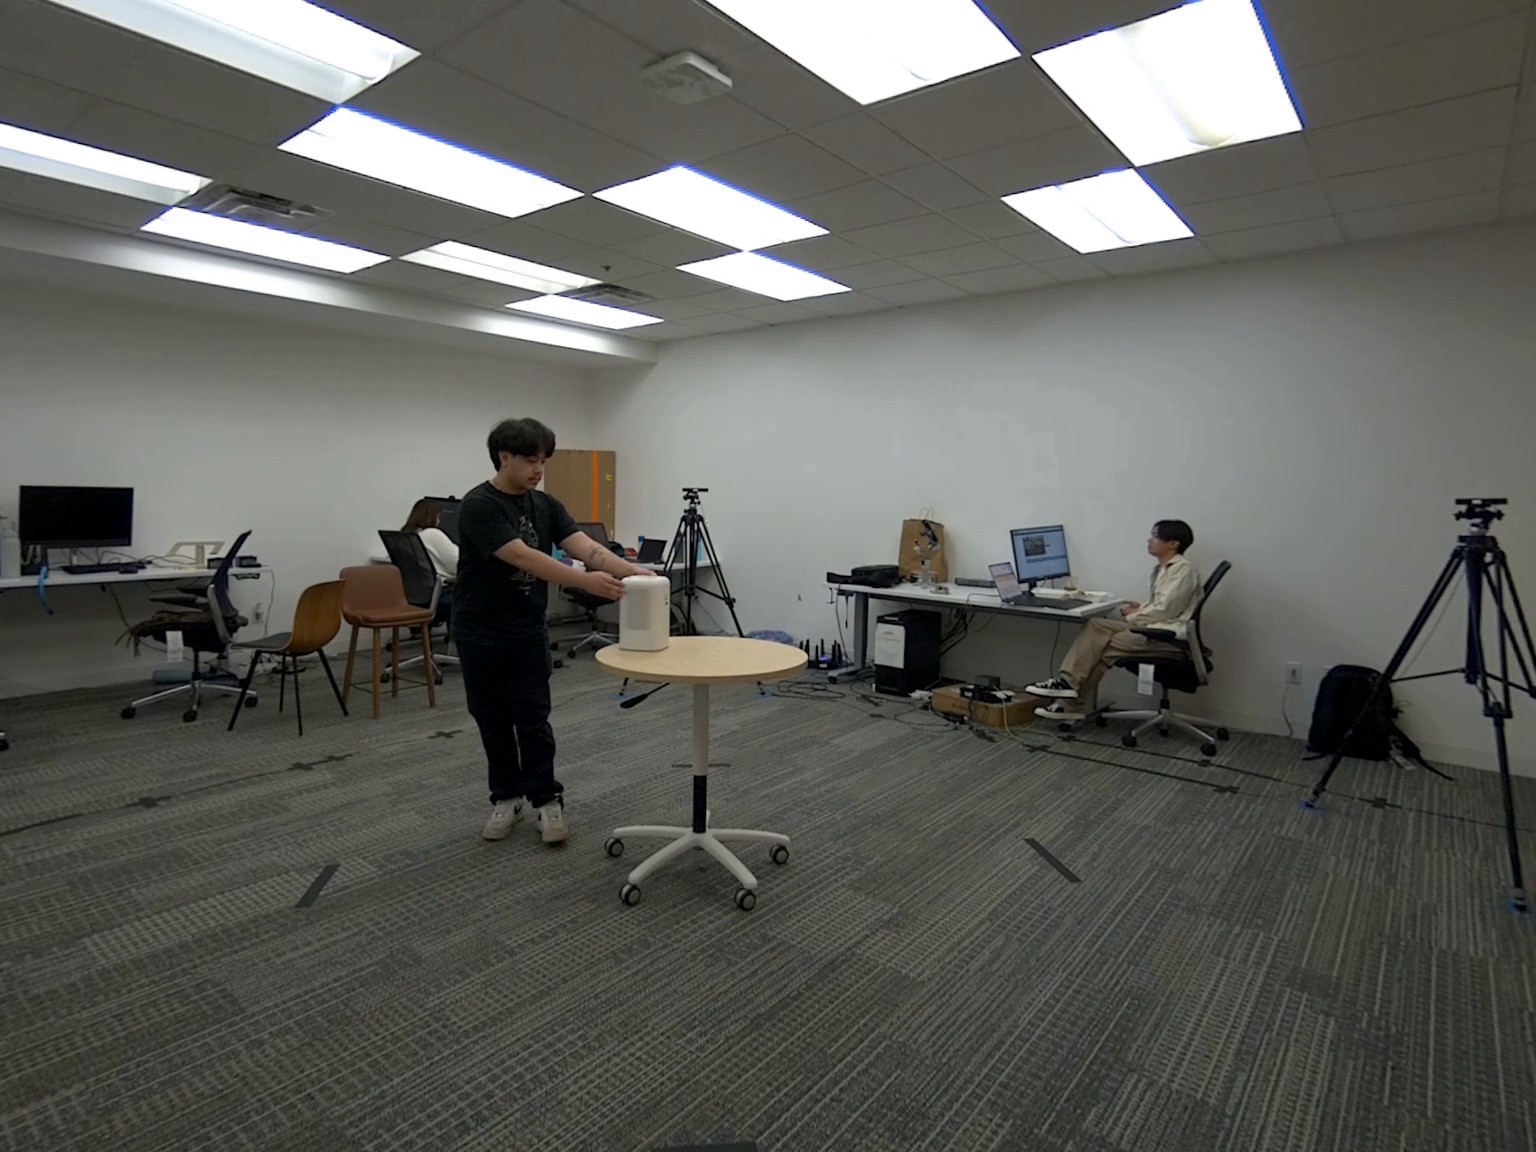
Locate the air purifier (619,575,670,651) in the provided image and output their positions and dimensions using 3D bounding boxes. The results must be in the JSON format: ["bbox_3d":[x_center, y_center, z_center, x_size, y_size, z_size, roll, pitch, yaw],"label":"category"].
[{"bbox_3d":[-0.474,0.134,3.194,0.174,0.264,0.169,0,4,13],"label":"air purifier"}]
